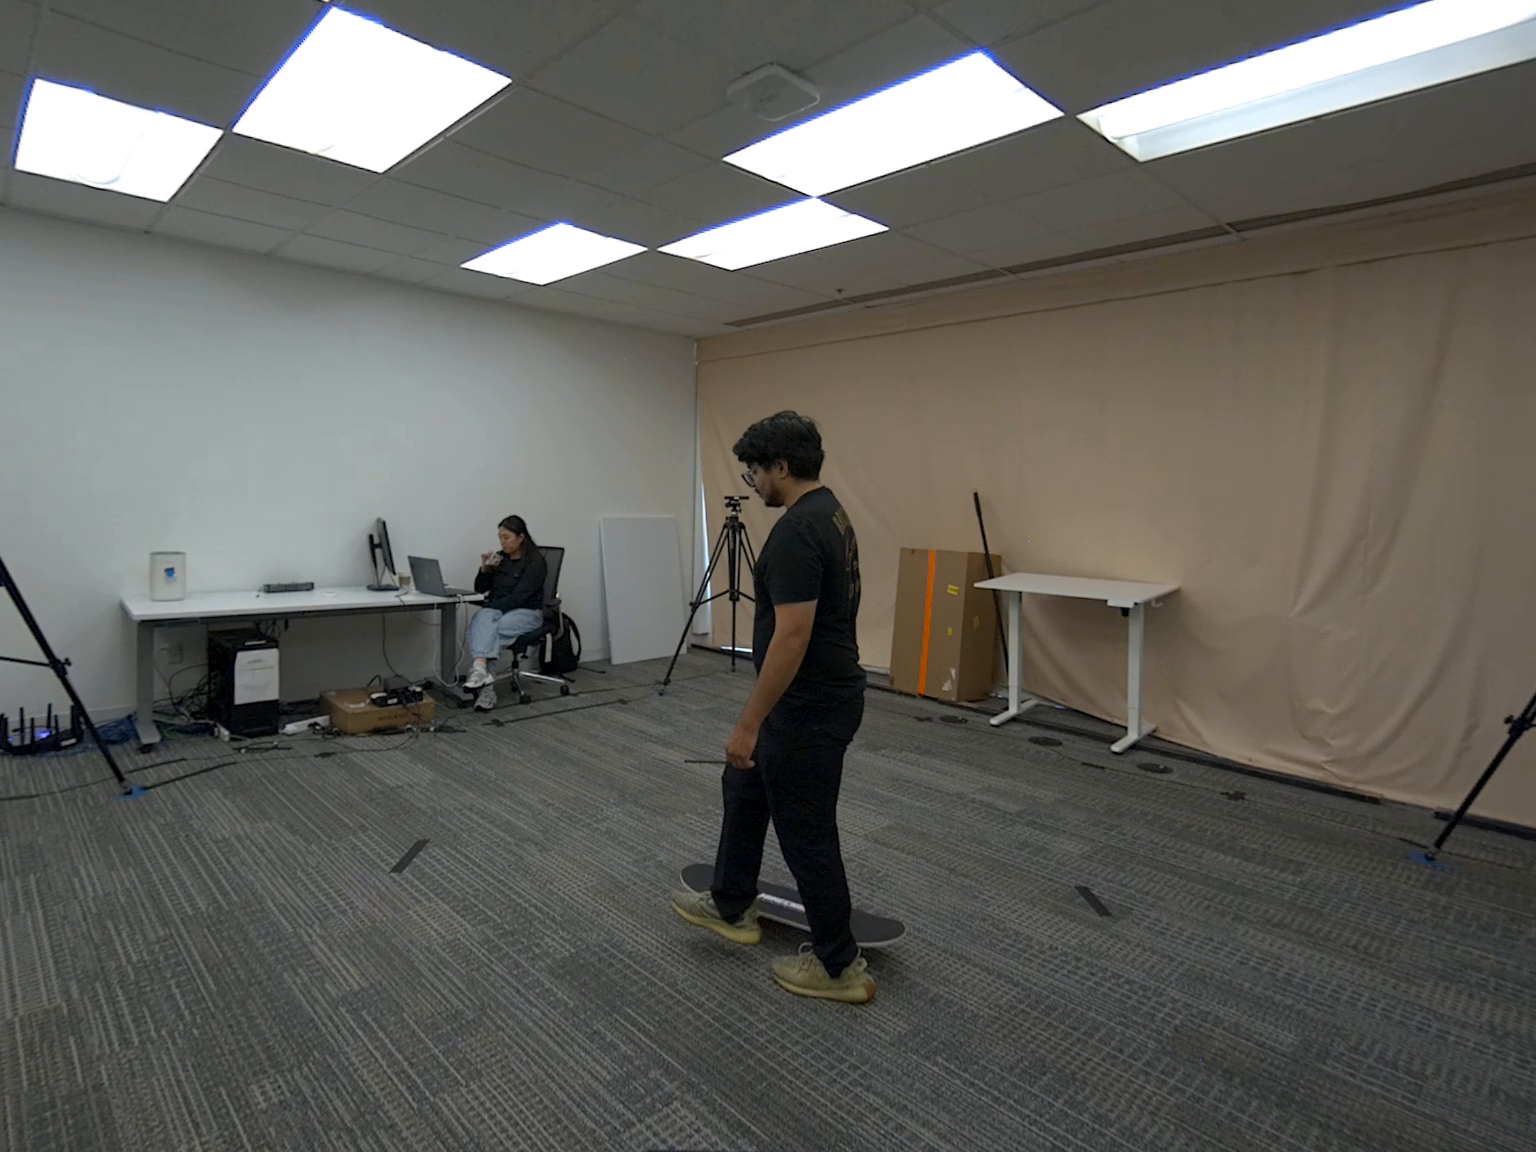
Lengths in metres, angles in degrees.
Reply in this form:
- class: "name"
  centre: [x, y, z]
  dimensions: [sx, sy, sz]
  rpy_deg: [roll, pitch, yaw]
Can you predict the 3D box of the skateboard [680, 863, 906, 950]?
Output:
- class: "skateboard"
  centre: [0.048, 1.092, 2.714]
  dimensions: [0.803, 0.110, 0.190]
  rpy_deg: [5, 6, 30]
